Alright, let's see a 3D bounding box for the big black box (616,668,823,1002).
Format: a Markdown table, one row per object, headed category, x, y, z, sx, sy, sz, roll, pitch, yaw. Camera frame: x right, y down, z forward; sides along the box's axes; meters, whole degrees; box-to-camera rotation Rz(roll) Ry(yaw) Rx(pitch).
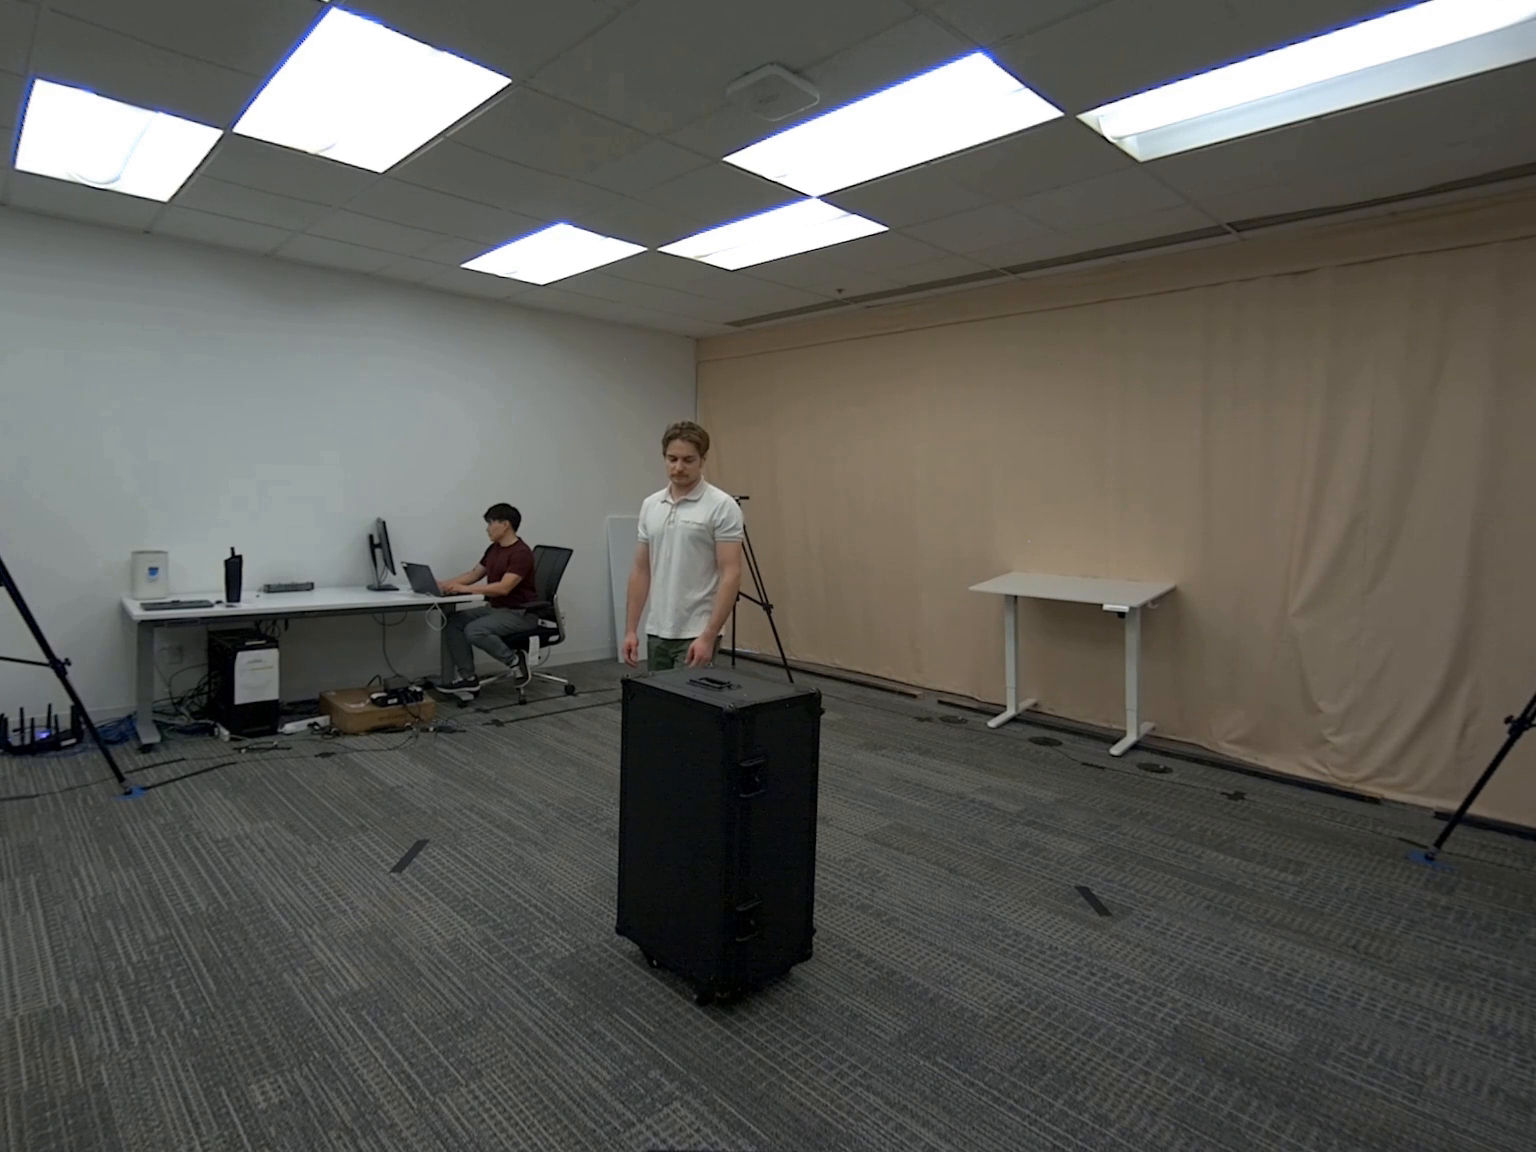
| category | x | y | z | sx | sy | sz | roll | pitch | yaw |
| --- | --- | --- | --- | --- | --- | --- | --- | --- | --- |
| big black box | -0.161 | 0.743 | 2.470 | 0.376 | 0.866 | 0.537 | -1 | 5 | -45 |
